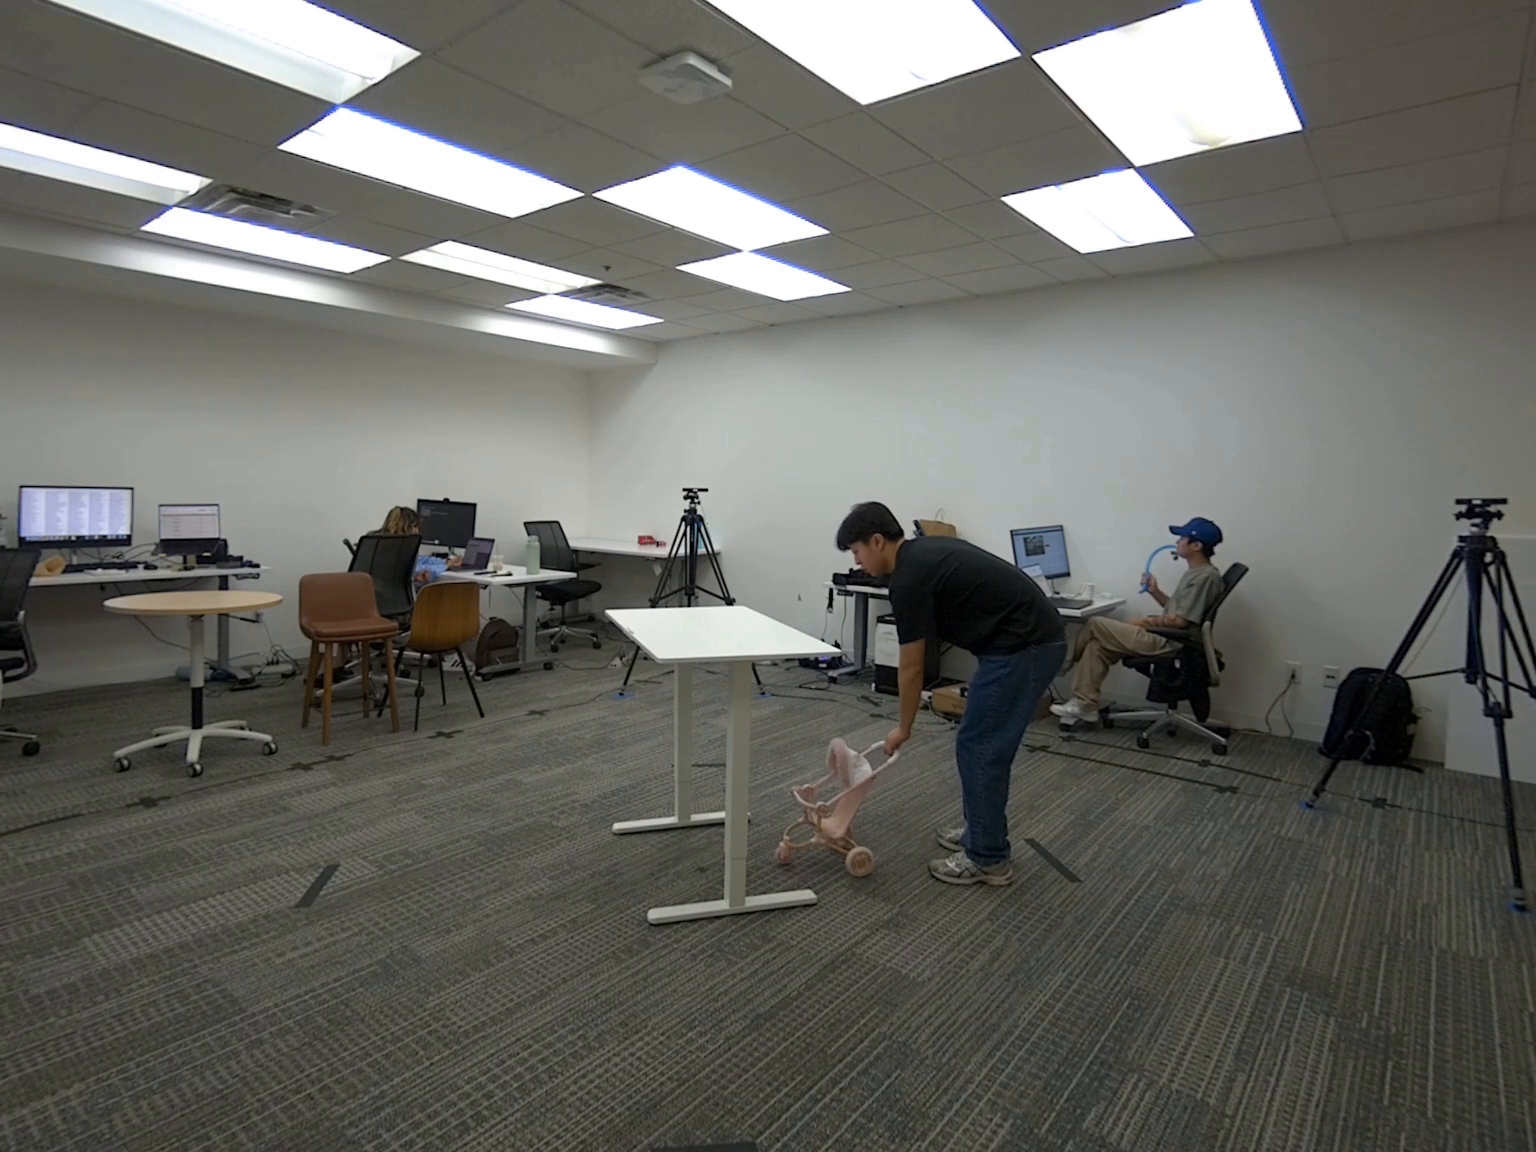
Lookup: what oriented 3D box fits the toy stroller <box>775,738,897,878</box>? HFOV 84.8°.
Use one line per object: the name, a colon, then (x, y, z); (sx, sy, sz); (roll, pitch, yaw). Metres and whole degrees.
toy stroller: (0.236, 0.845, 3.189); (0.339, 0.534, 0.284); (16, 2, -6)
